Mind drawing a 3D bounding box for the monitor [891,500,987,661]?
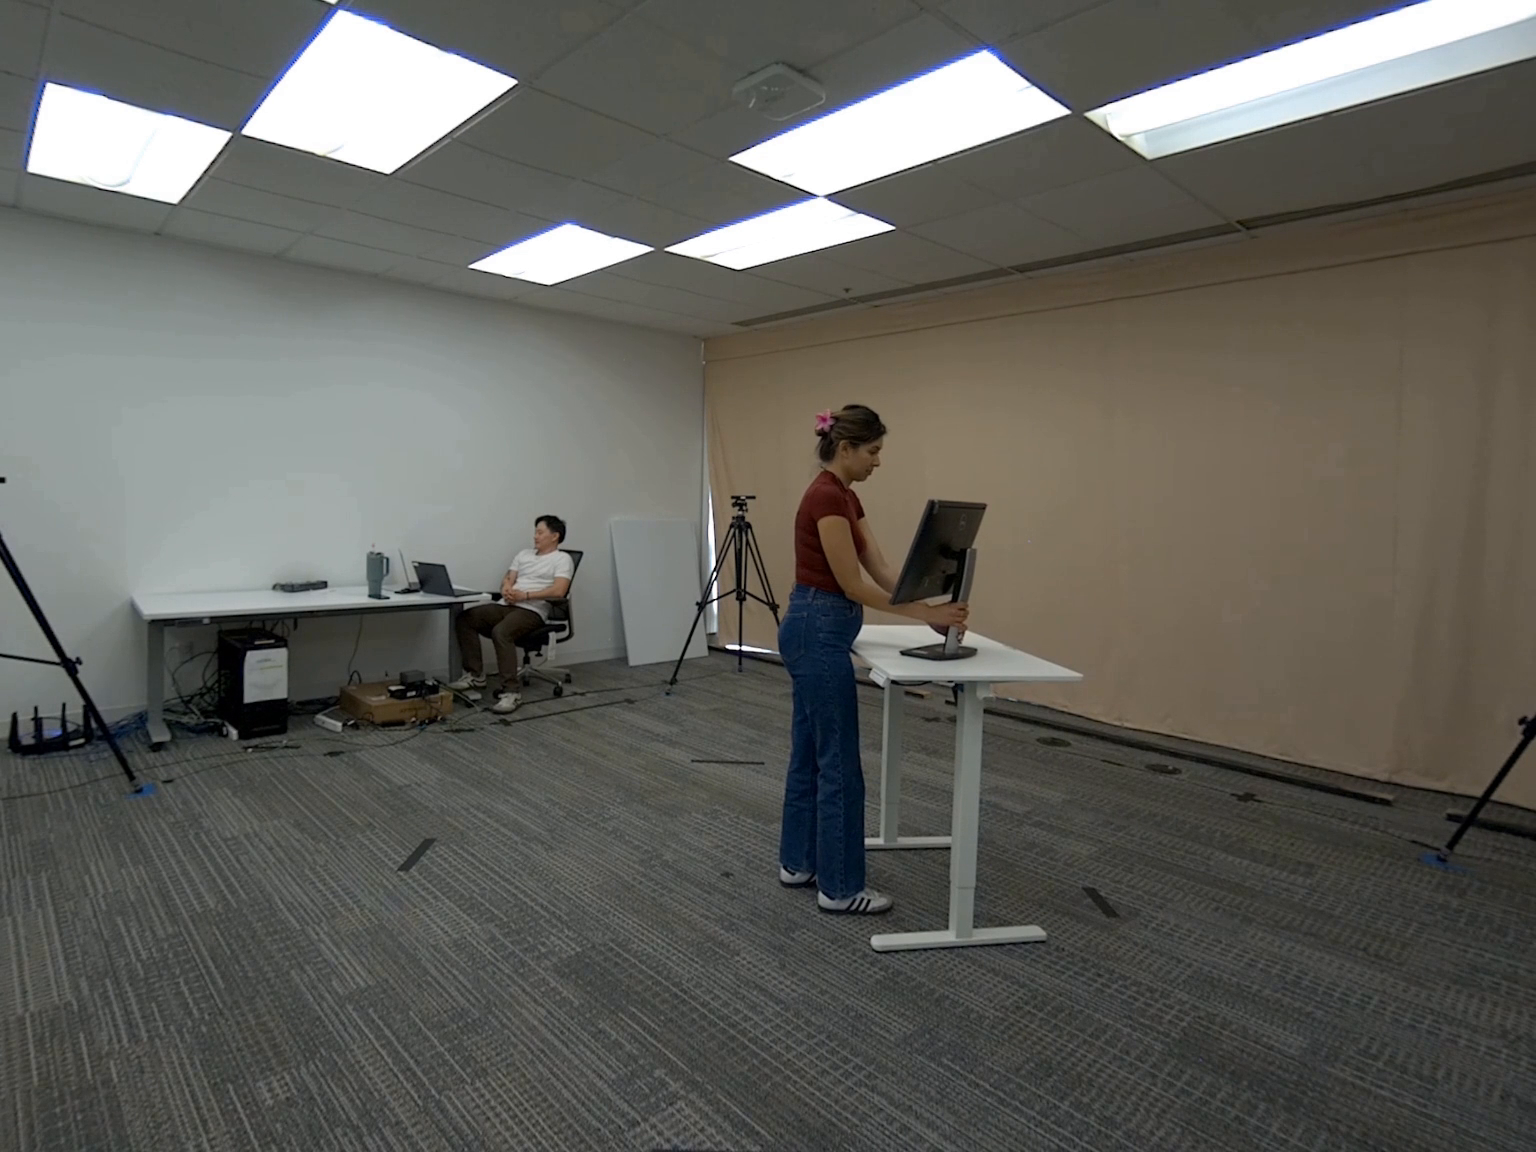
[{"bbox_3d":[0.599,0.011,2.794,0.191,0.521,0.528,7,6,30],"label":"monitor"}]
